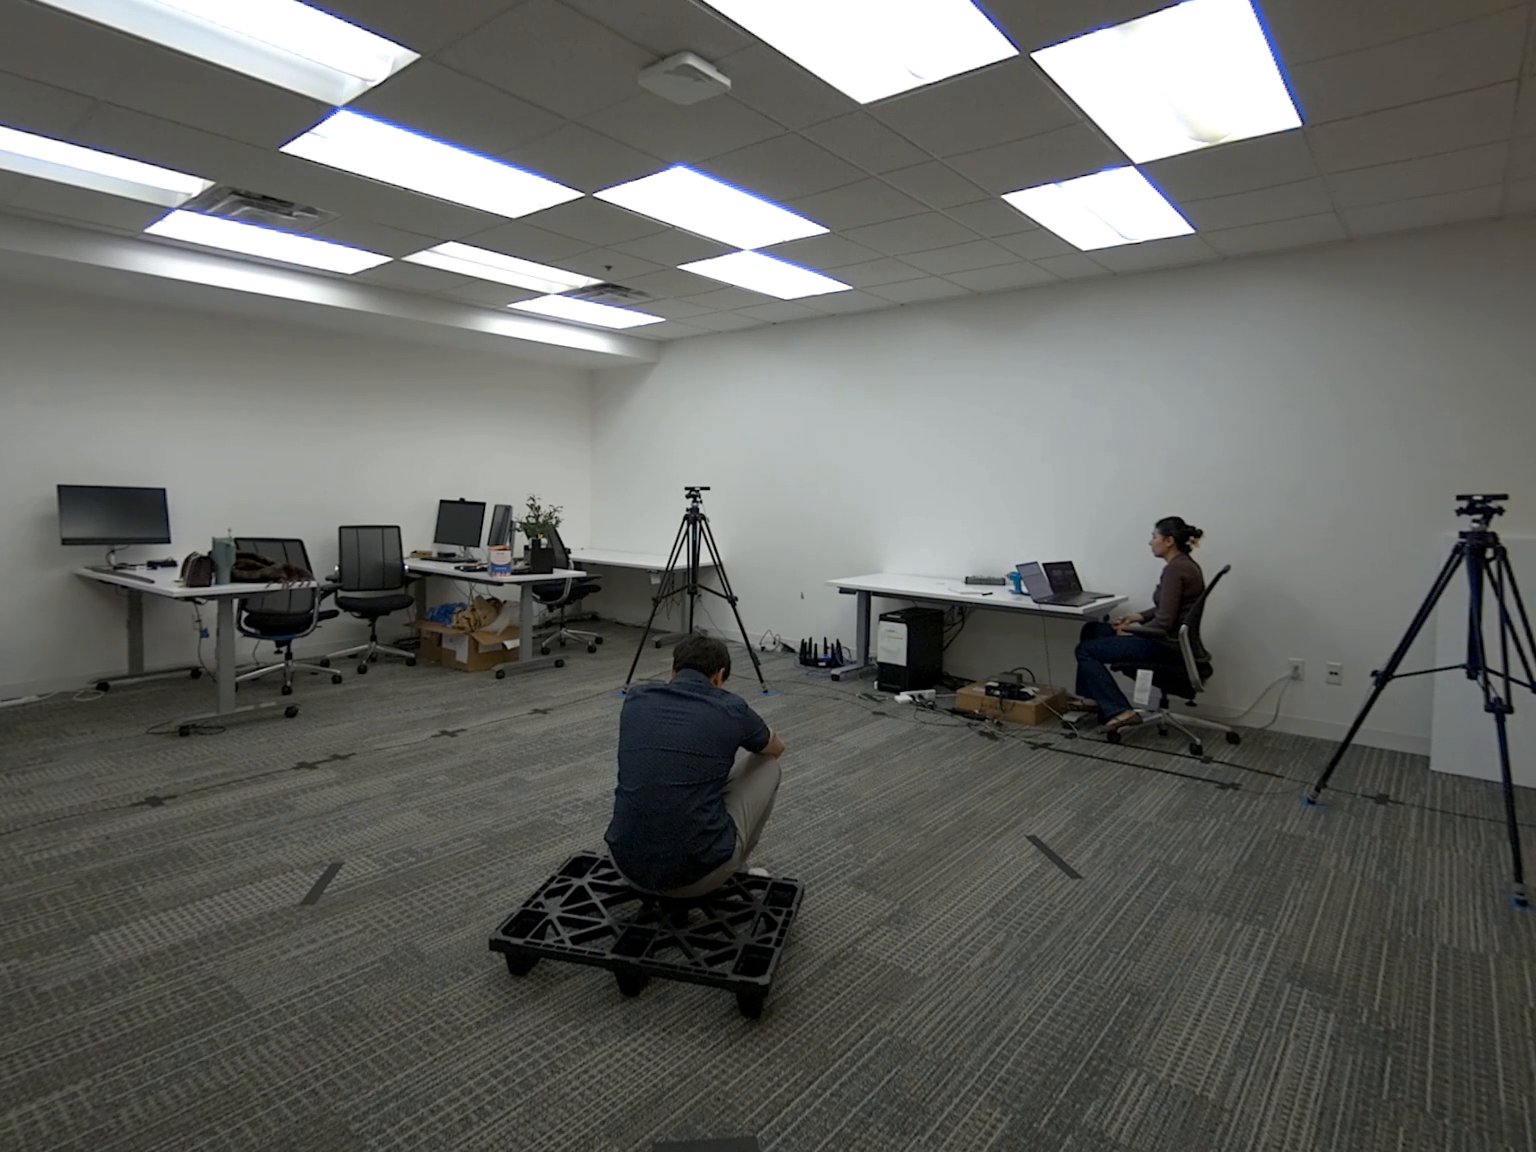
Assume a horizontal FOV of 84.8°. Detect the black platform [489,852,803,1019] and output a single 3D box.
[{"bbox_3d":[-0.344,1.054,2.547,0.818,0.143,0.598,2,5,13],"label":"black platform"}]
